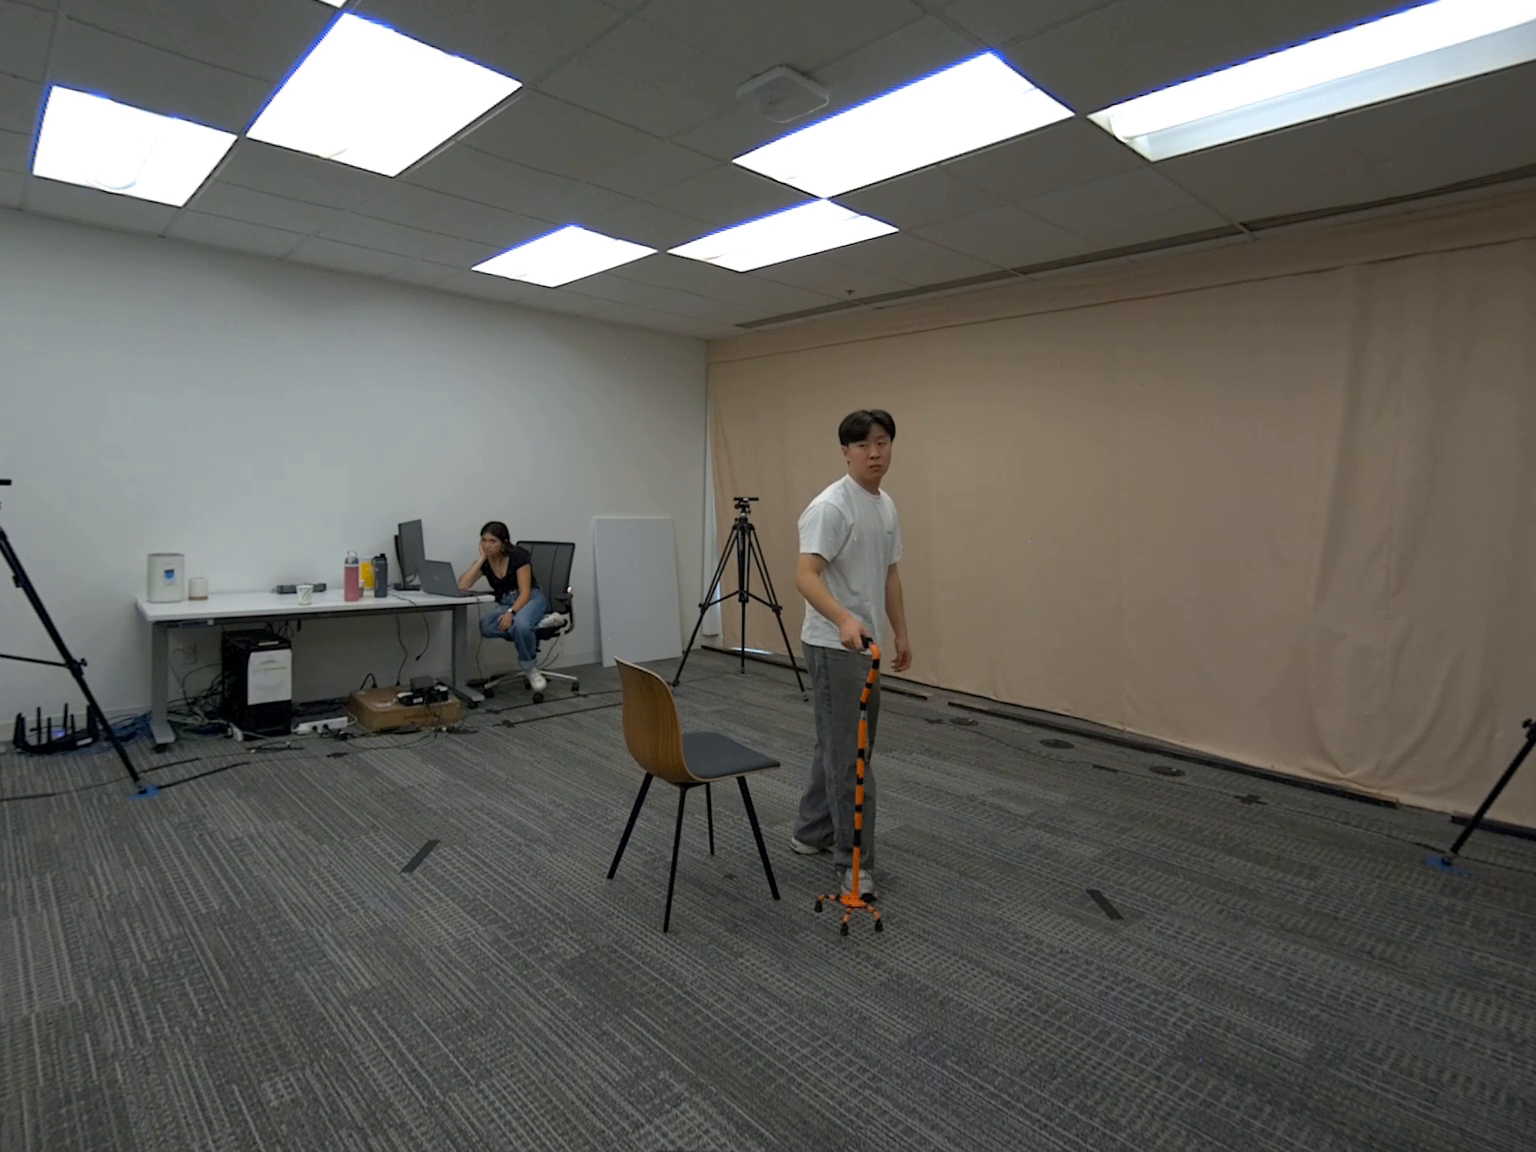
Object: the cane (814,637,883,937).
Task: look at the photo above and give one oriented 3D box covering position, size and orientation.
[{"bbox_3d":[0.278,0.655,2.707,0.149,0.908,0.210,2,0,-24],"label":"cane"}]
